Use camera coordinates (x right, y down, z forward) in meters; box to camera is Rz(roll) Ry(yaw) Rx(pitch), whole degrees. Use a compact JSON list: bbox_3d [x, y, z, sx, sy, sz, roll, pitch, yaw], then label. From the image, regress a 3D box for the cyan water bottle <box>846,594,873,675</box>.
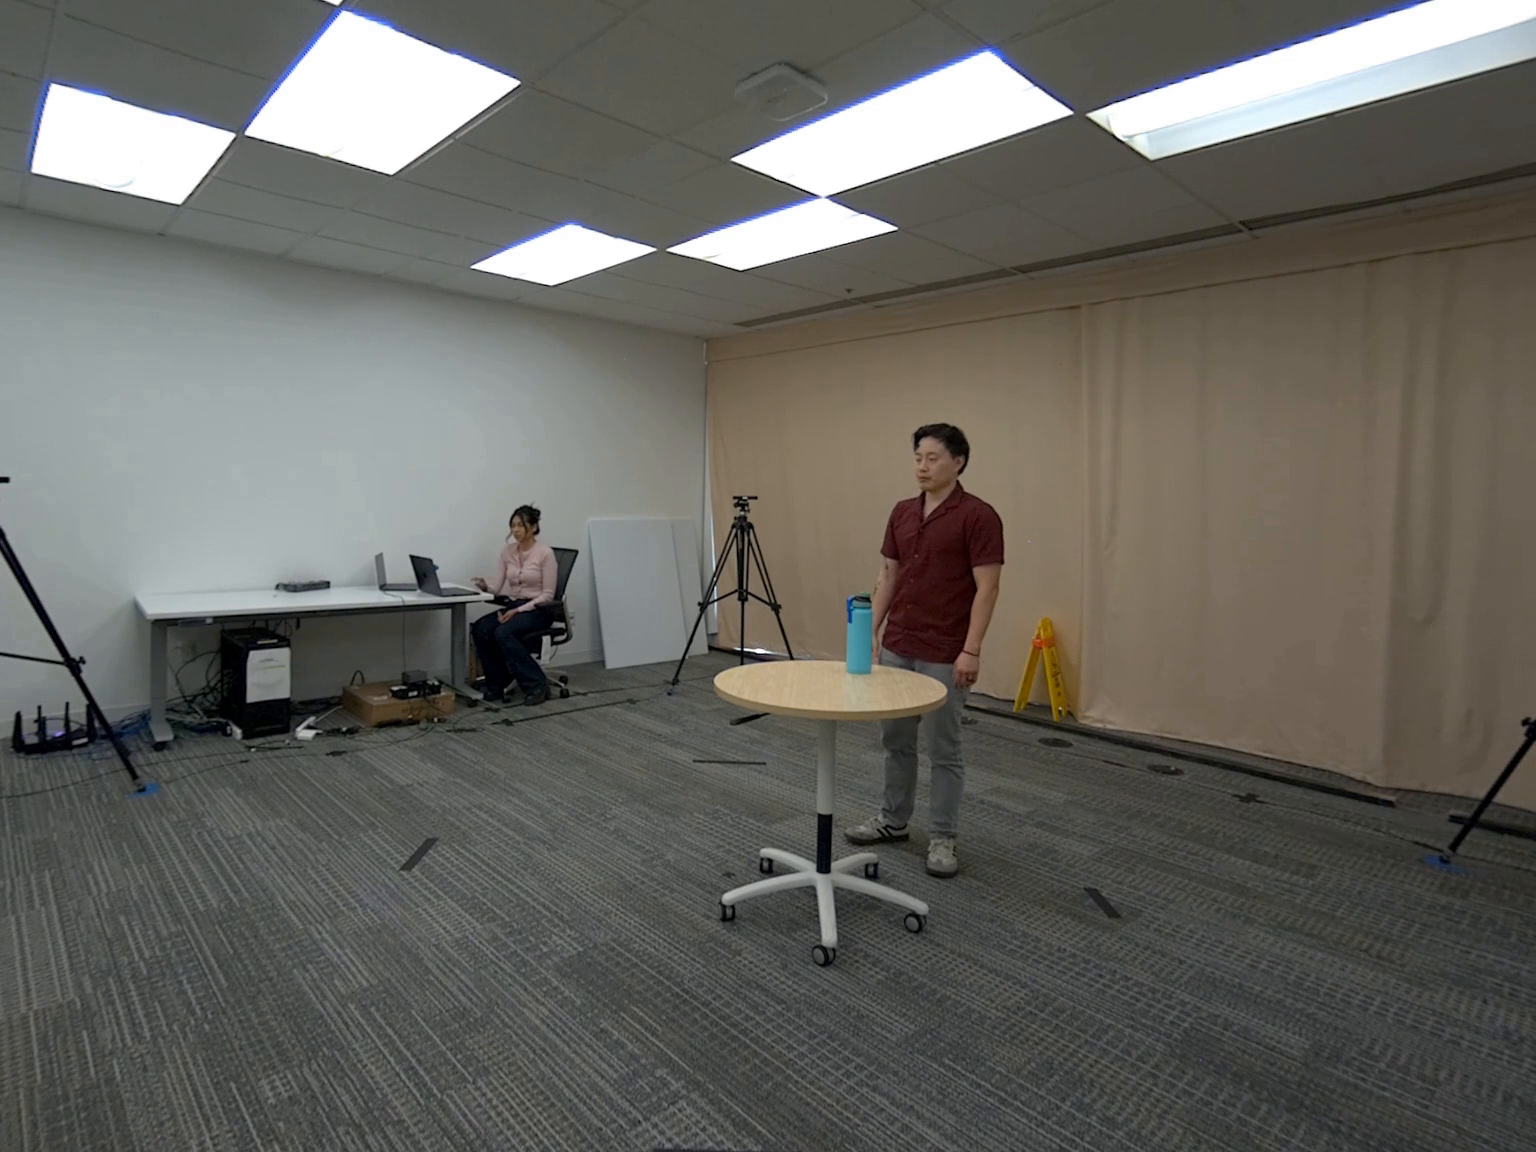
[{"bbox_3d":[0.323,0.201,2.982,0.092,0.282,0.093,0,4,-1],"label":"cyan water bottle"}]
